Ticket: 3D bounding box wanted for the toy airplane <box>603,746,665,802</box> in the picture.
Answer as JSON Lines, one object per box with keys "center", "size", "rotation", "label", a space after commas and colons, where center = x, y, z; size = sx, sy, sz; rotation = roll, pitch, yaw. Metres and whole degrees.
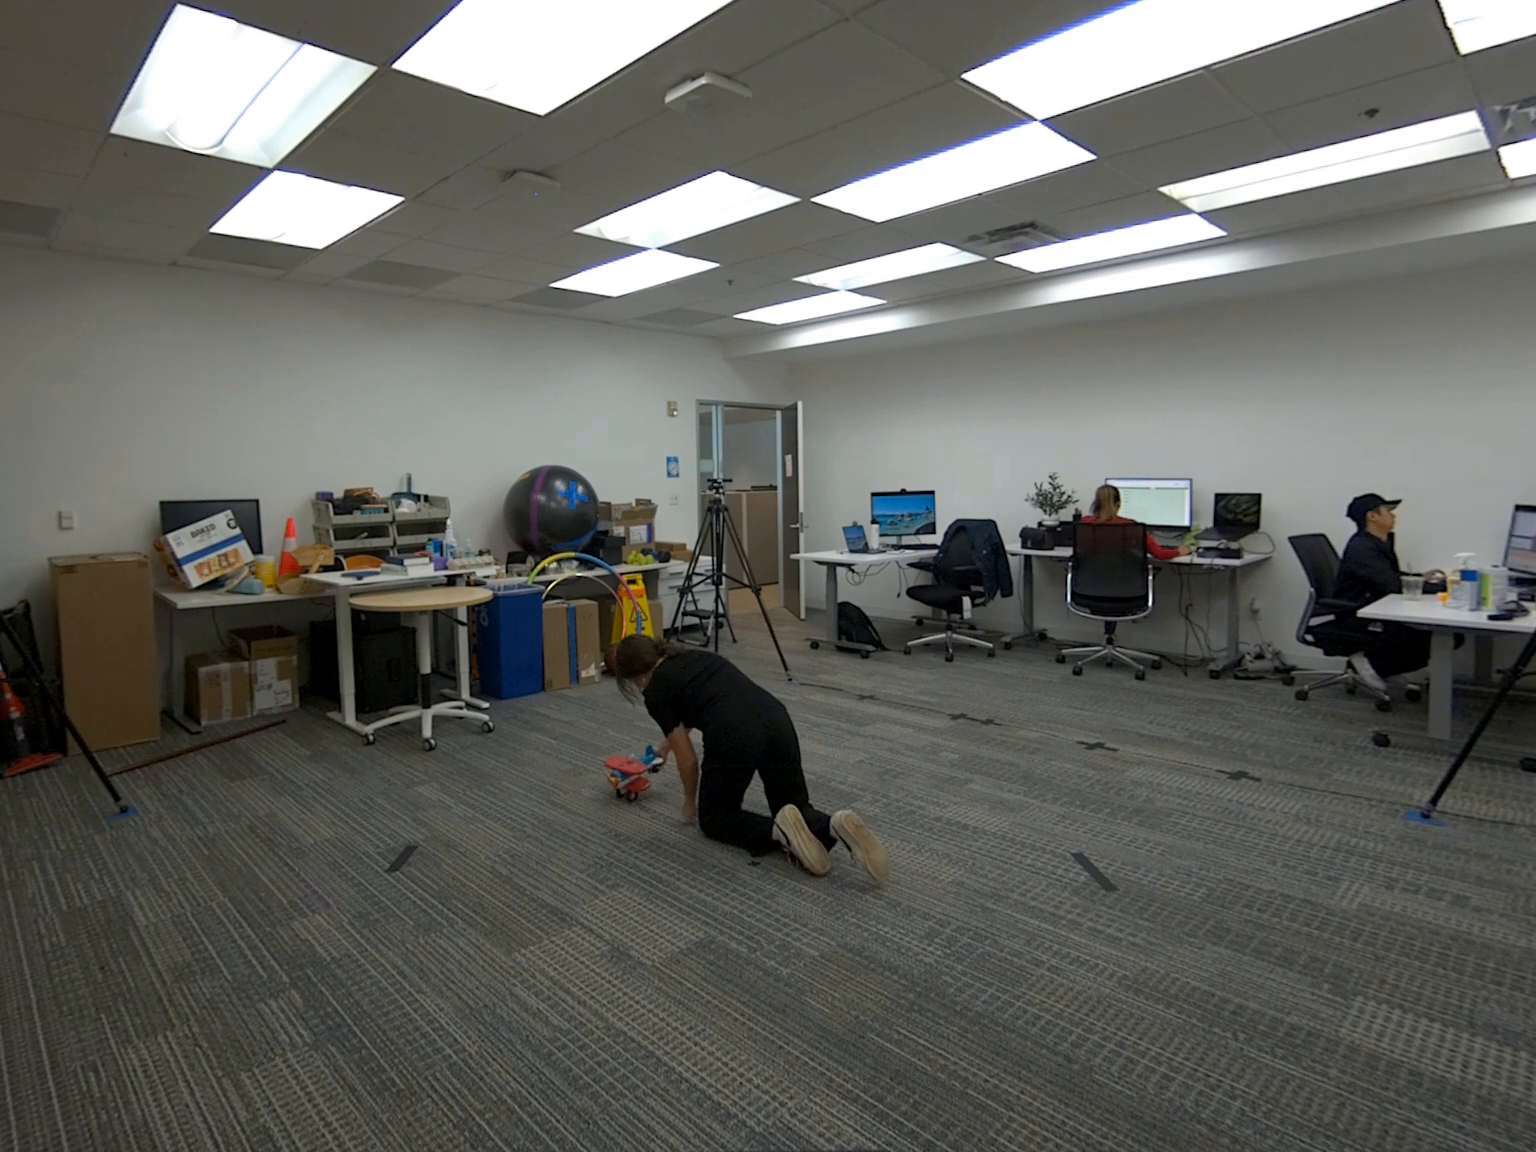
{"center": [-0.608, 0.873, 3.810], "size": [0.254, 0.152, 0.262], "rotation": [-14, 25, 17], "label": "toy airplane"}
